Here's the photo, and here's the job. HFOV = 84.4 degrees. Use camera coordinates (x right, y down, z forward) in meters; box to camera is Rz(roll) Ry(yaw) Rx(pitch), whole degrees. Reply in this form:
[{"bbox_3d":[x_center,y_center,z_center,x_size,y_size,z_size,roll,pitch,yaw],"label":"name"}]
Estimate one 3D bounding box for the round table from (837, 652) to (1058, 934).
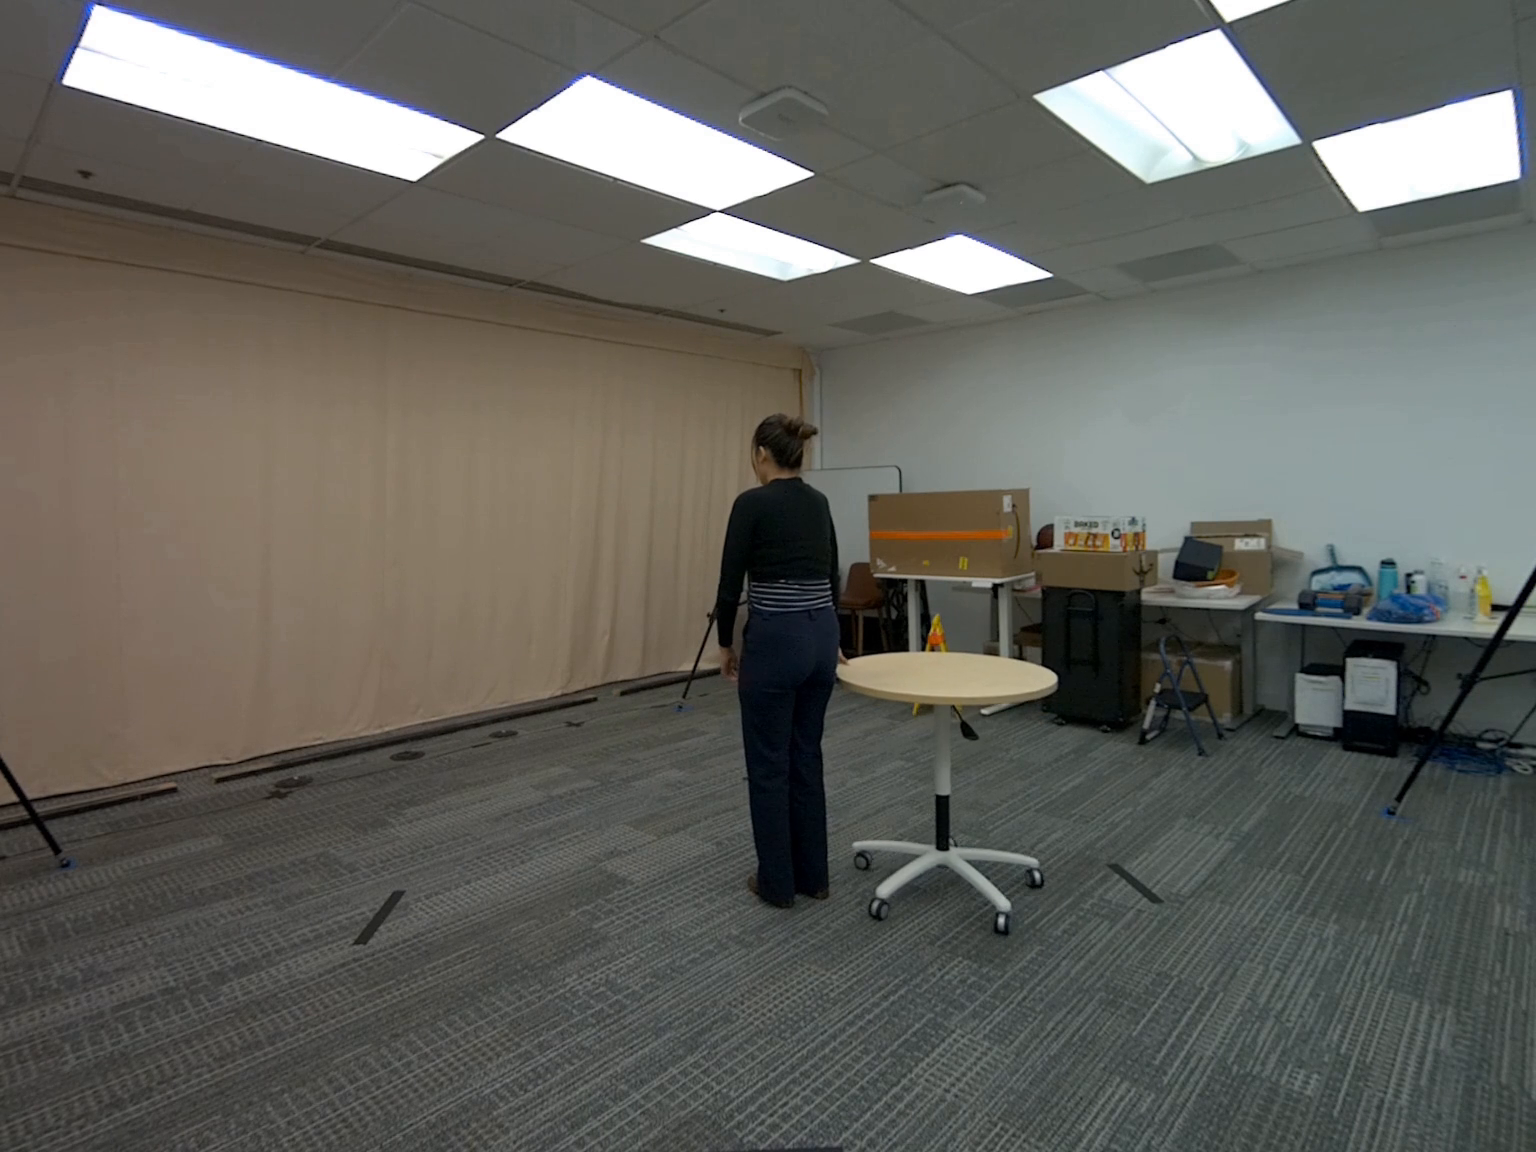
[{"bbox_3d":[0.631,0.737,3.012,0.763,0.792,0.767,-1,4,-2],"label":"round table"}]
